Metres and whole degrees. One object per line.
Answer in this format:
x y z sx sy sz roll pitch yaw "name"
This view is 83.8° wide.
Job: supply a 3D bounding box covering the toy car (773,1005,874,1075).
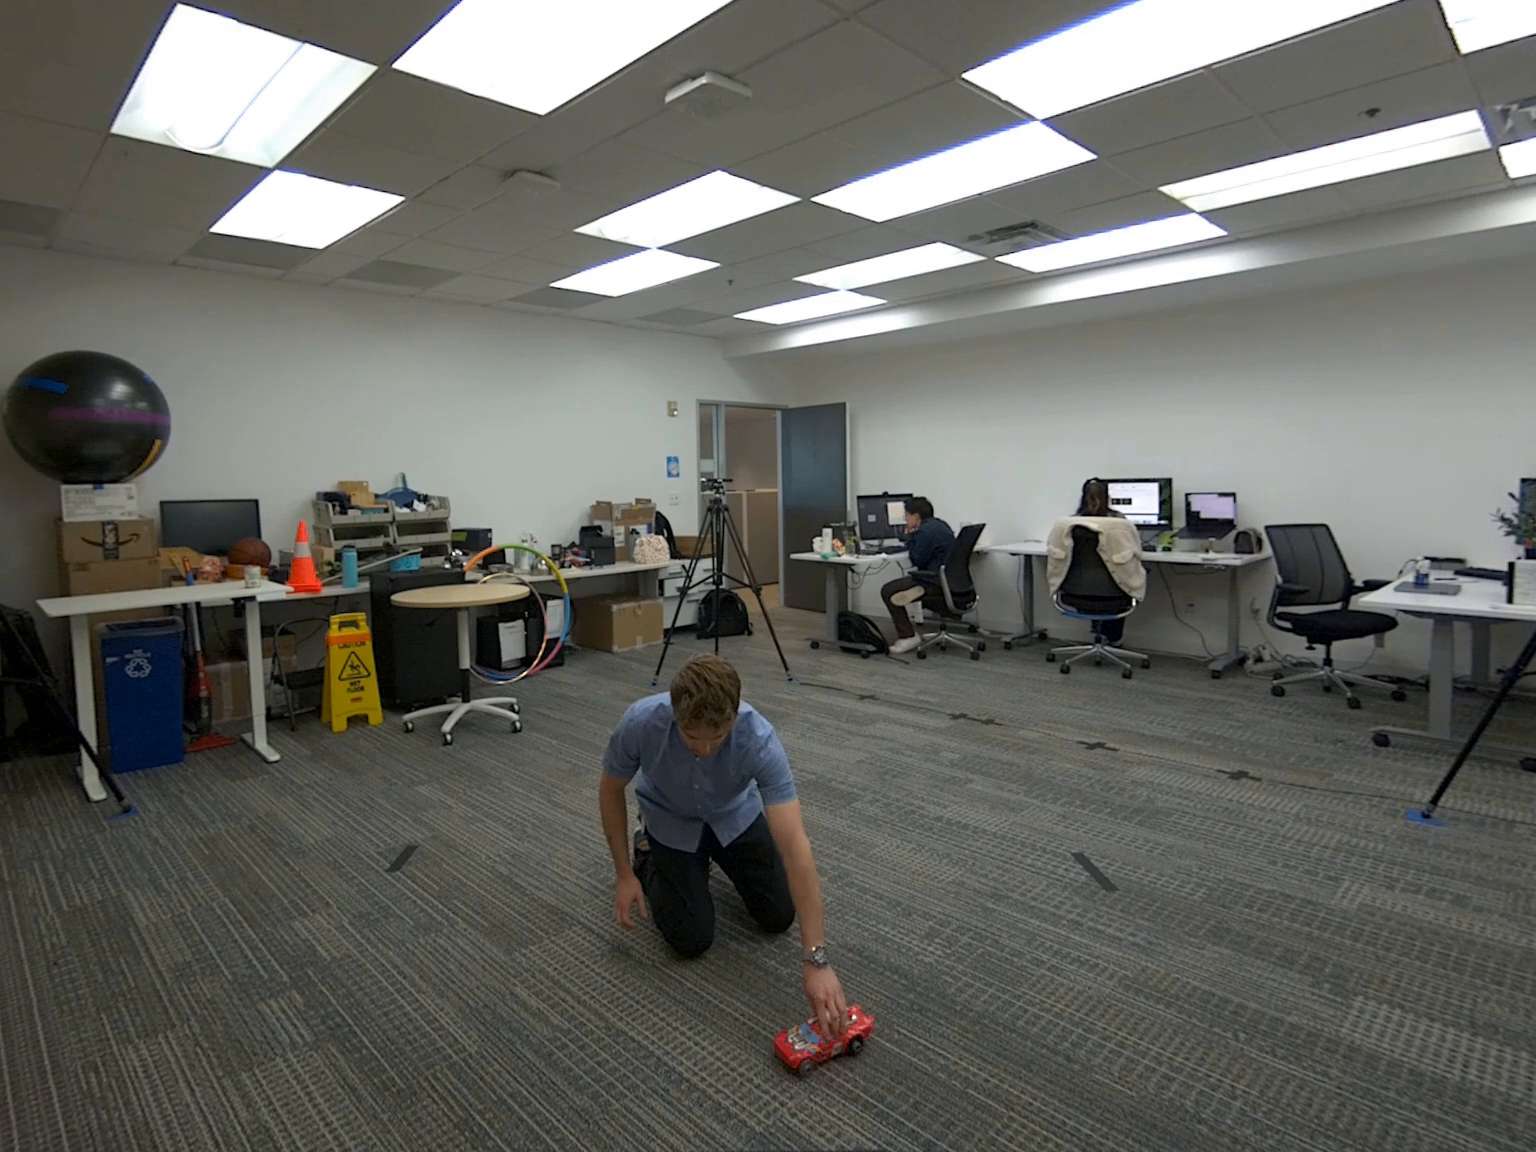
0.146 1.132 2.089 0.250 0.082 0.134 -19 15 -28 "toy car"
